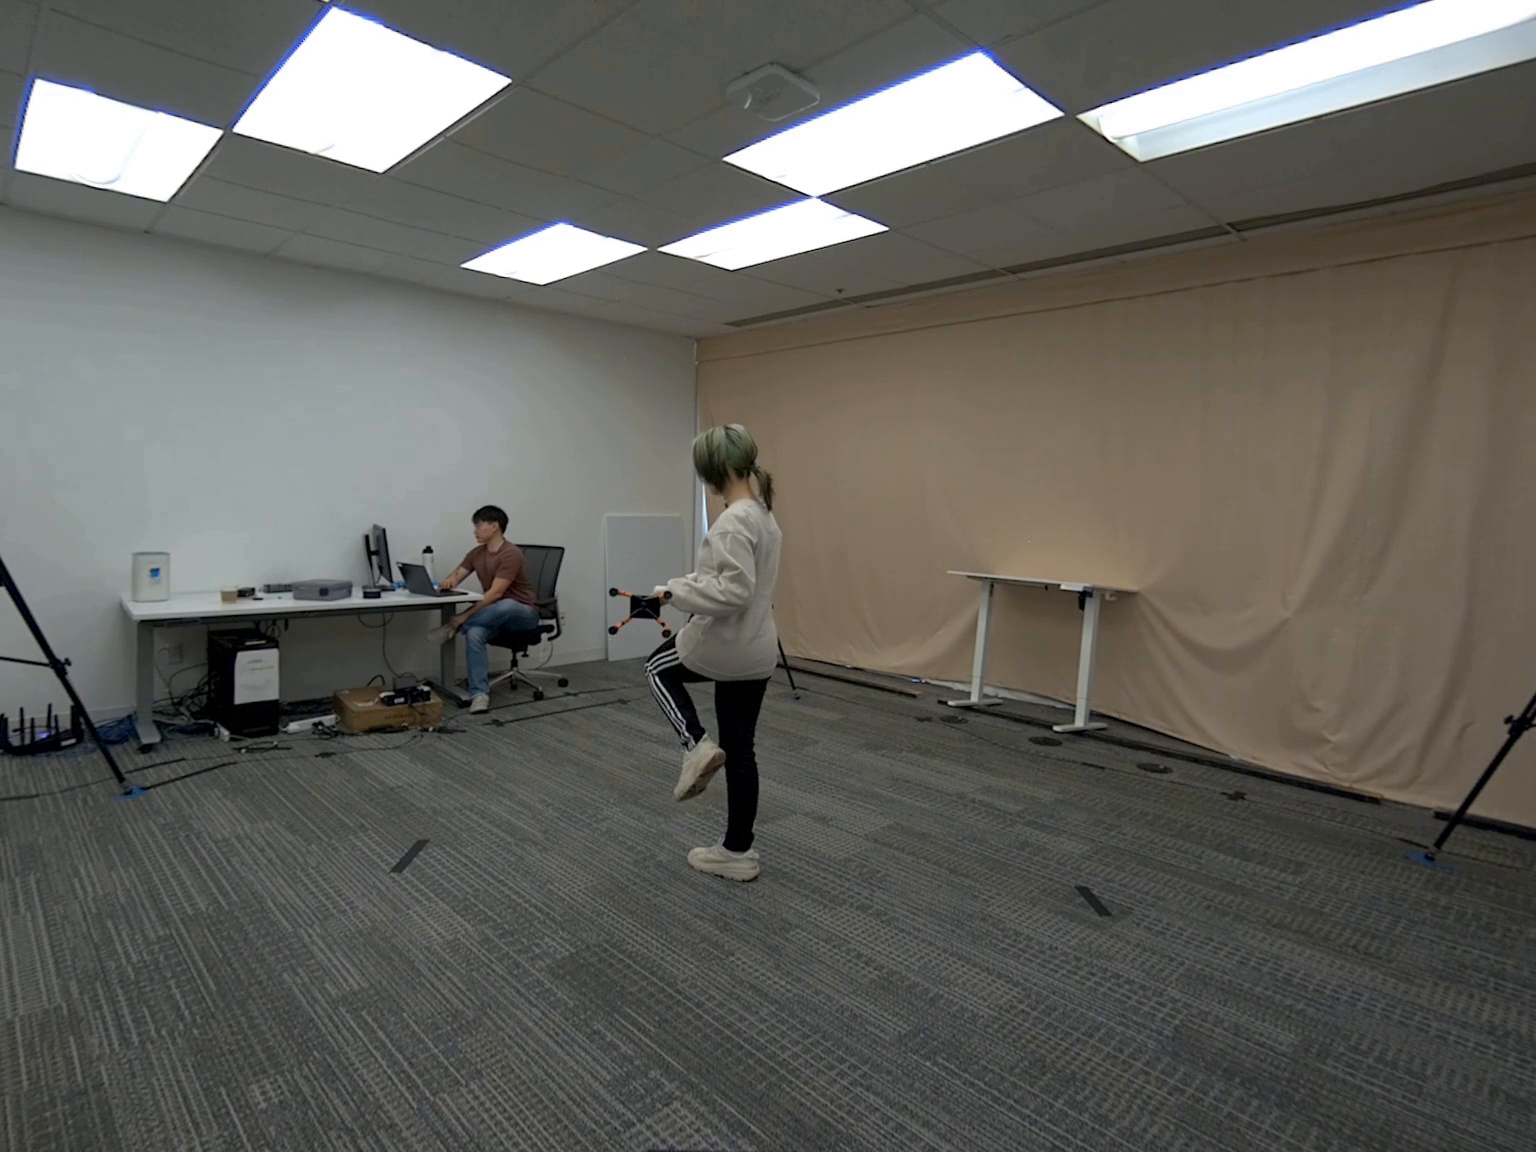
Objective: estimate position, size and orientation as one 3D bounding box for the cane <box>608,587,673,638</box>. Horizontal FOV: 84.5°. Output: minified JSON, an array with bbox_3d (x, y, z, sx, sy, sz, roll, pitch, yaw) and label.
[{"bbox_3d":[-0.387,0.080,3.120,0.207,0.151,0.907,2,5,4],"label":"cane"}]
